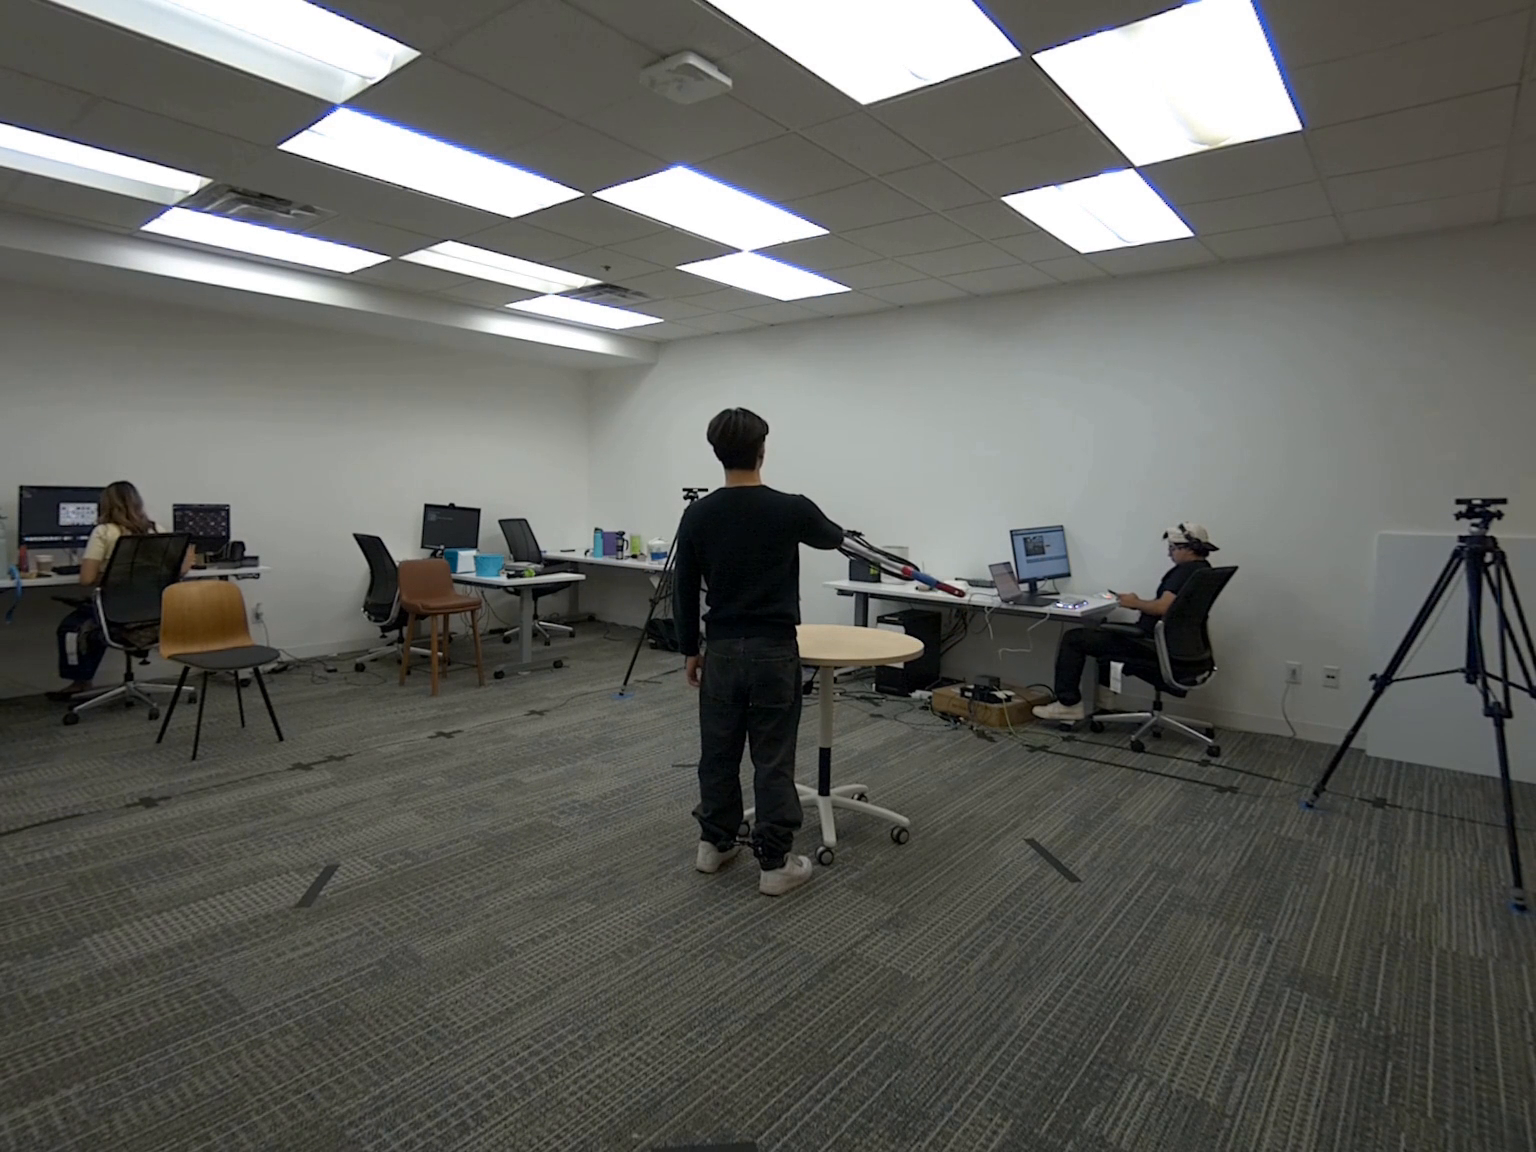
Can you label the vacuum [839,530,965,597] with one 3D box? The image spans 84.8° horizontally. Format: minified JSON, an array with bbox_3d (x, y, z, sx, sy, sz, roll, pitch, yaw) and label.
[{"bbox_3d":[0.307,-0.124,3.453,1.090,0.252,0.139,27,4,33],"label":"vacuum"}]
